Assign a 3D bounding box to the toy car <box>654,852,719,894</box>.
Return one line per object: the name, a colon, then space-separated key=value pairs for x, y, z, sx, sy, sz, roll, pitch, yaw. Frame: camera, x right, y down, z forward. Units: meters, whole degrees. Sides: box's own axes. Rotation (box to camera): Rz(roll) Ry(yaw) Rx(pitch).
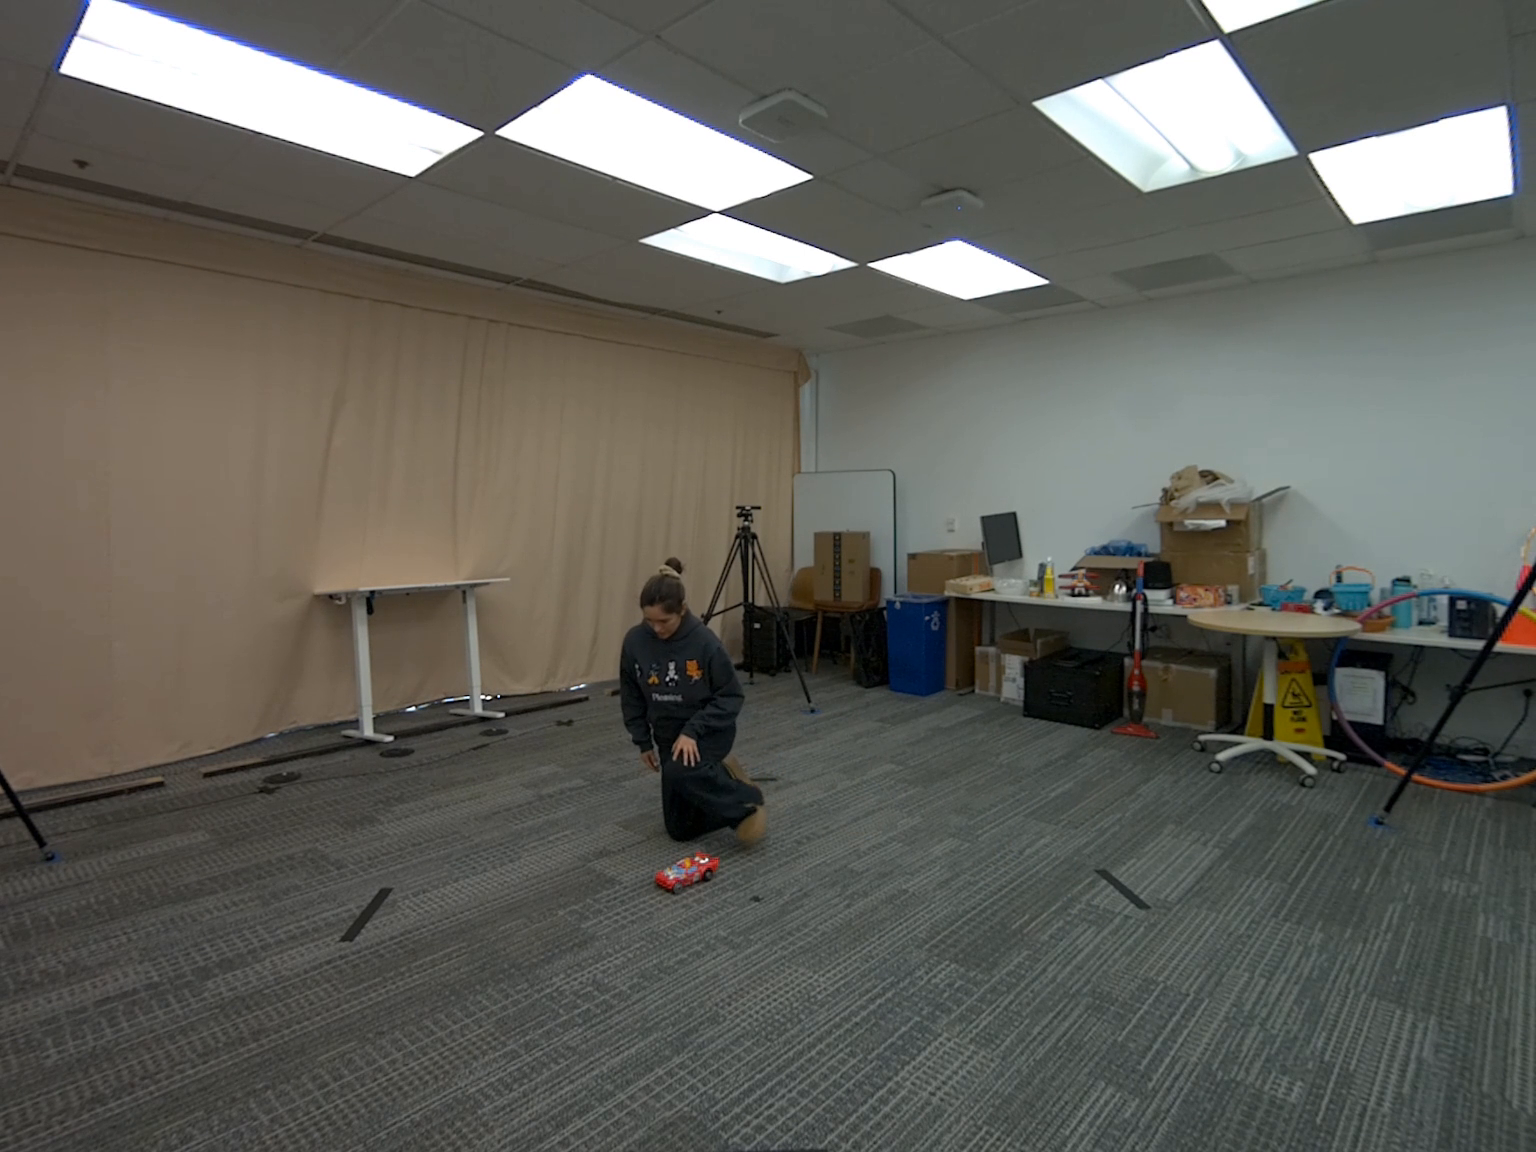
toy car: x=-0.283 y=1.102 z=3.133 sx=0.248 sy=0.082 sz=0.134 roll=-19 pitch=16 yaw=-41
